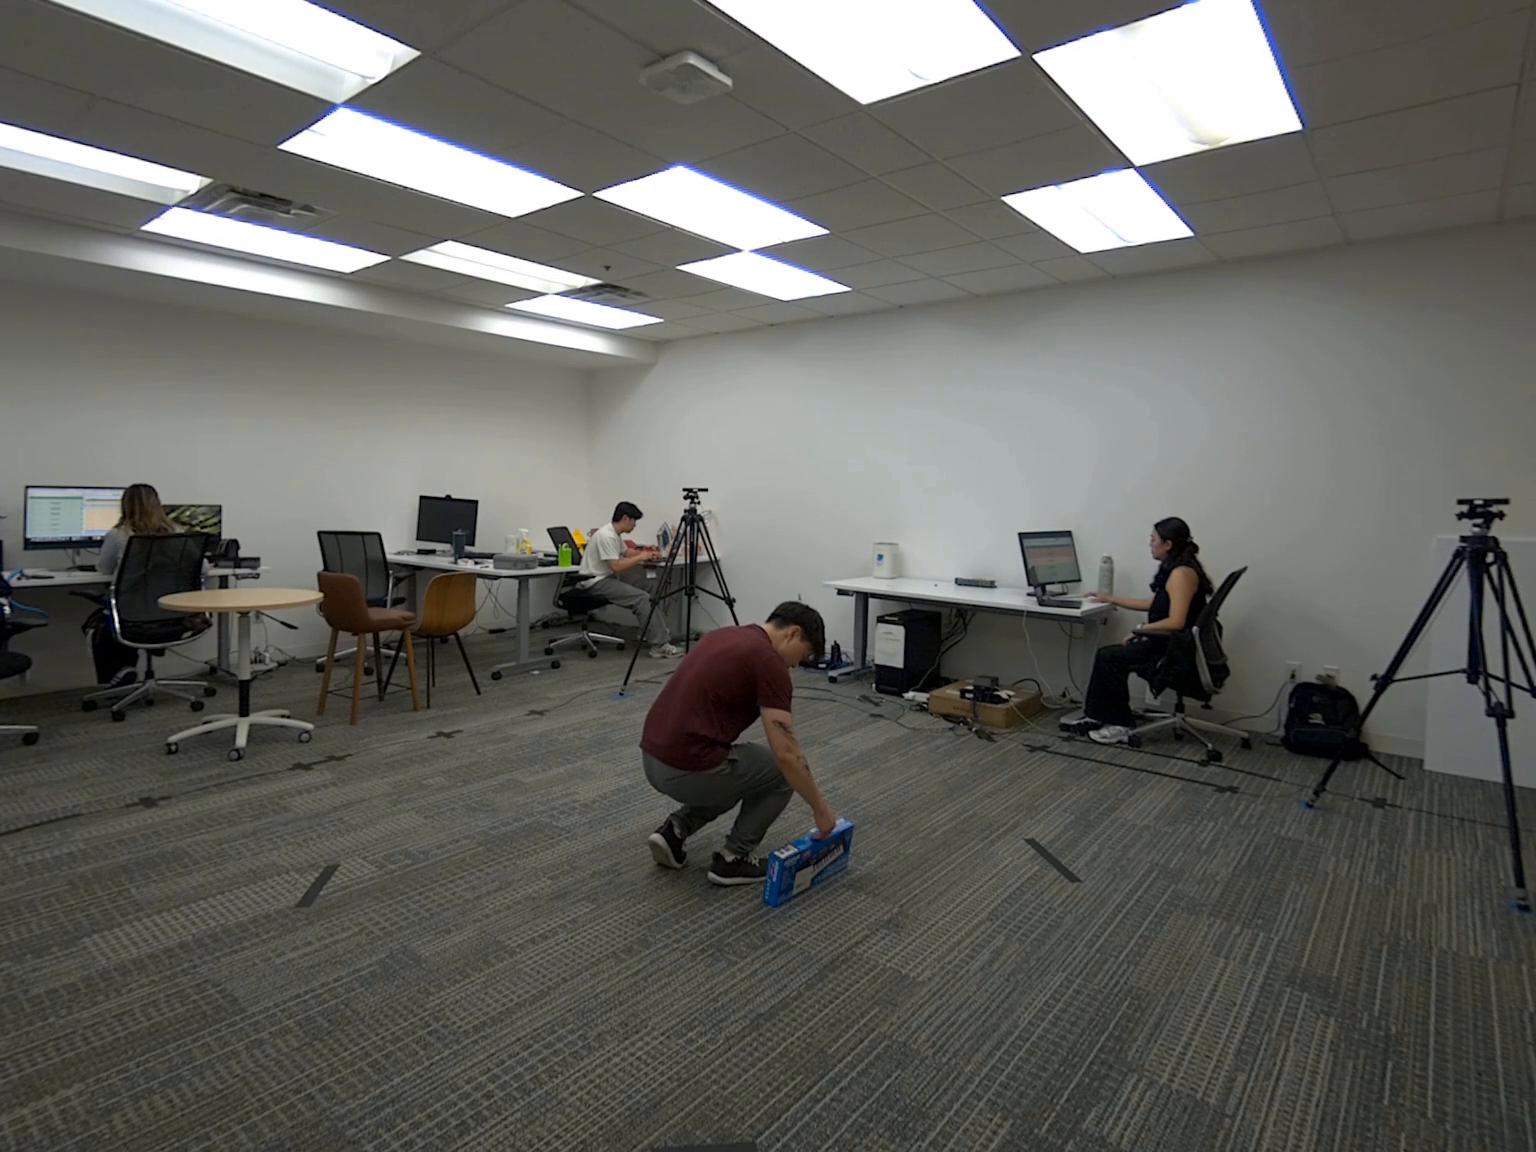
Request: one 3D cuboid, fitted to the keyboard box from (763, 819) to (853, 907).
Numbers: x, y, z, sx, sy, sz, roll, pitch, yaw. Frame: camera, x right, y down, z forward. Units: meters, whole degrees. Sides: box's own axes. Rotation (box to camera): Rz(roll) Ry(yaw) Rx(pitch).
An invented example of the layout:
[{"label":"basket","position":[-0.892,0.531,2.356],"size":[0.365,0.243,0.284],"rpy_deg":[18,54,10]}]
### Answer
[{"label":"keyboard box","position":[0.141,1.001,2.998],"size":[0.061,0.175,0.424],"rpy_deg":[15,12,40]}]
